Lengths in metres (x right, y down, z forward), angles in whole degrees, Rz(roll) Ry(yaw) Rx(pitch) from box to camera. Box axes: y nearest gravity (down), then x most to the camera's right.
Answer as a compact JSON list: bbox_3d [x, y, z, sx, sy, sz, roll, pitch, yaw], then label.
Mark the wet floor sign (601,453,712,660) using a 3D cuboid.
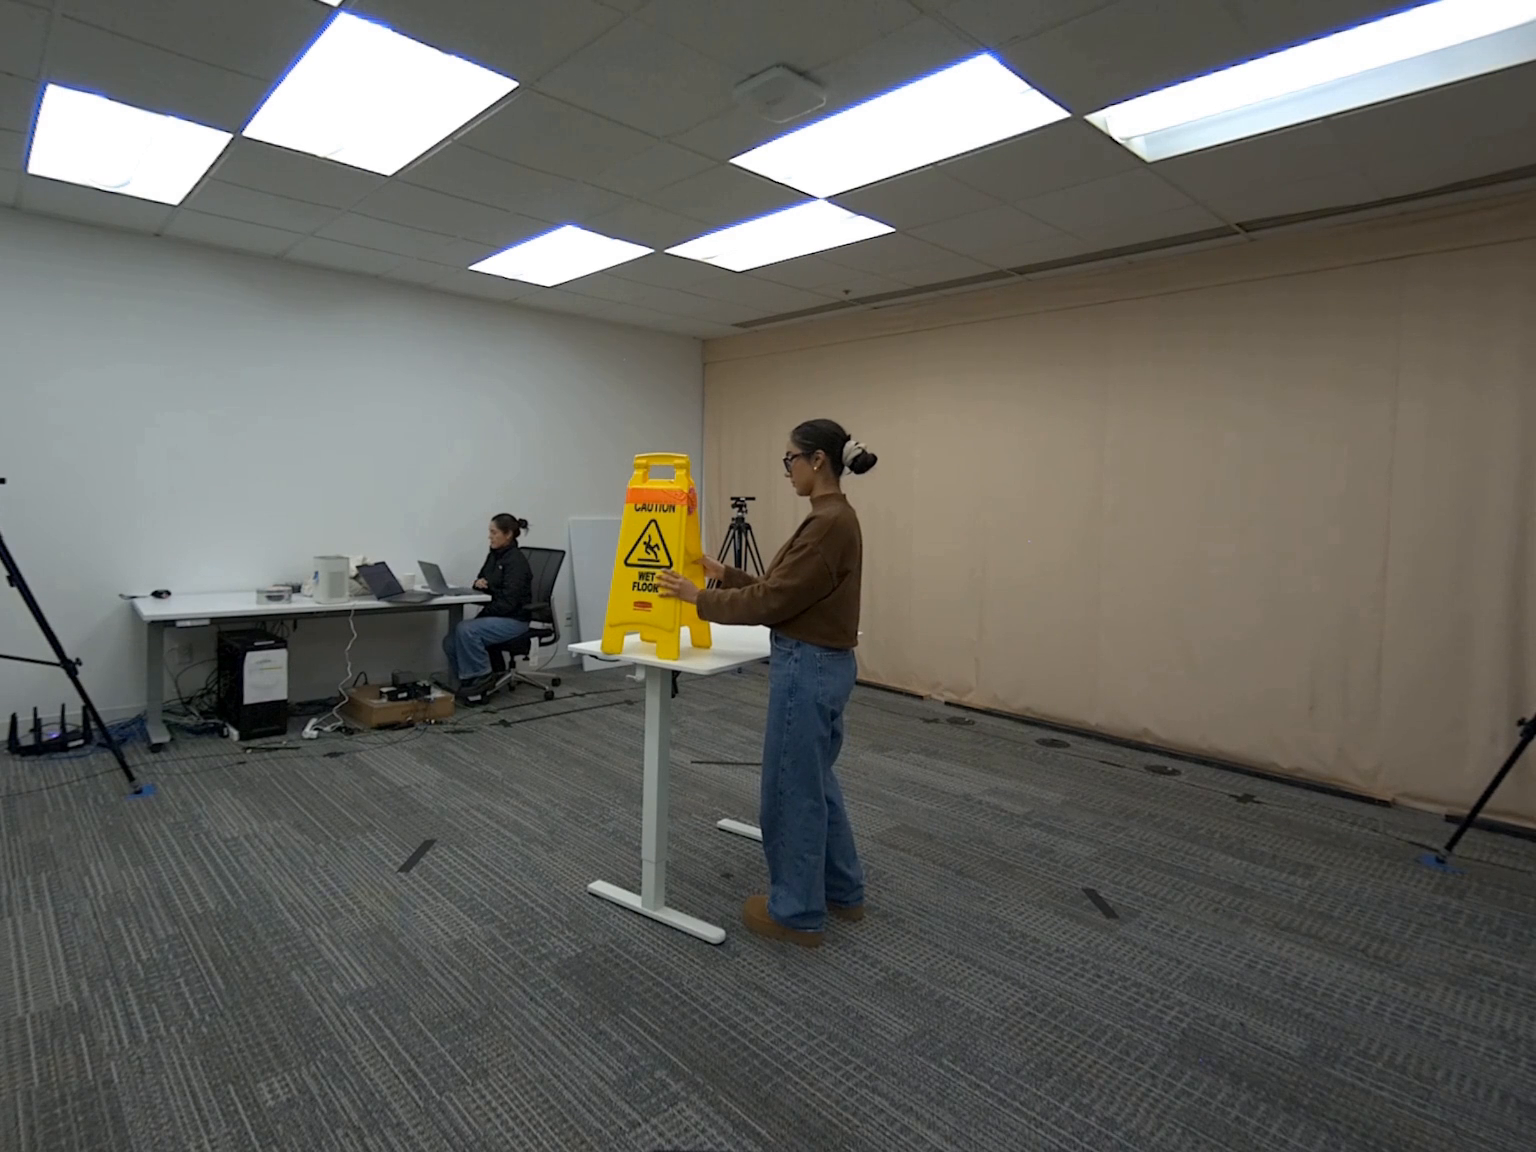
[{"bbox_3d":[-0.364,-0.073,2.769,0.287,0.645,0.285,1,3,23],"label":"wet floor sign"}]
